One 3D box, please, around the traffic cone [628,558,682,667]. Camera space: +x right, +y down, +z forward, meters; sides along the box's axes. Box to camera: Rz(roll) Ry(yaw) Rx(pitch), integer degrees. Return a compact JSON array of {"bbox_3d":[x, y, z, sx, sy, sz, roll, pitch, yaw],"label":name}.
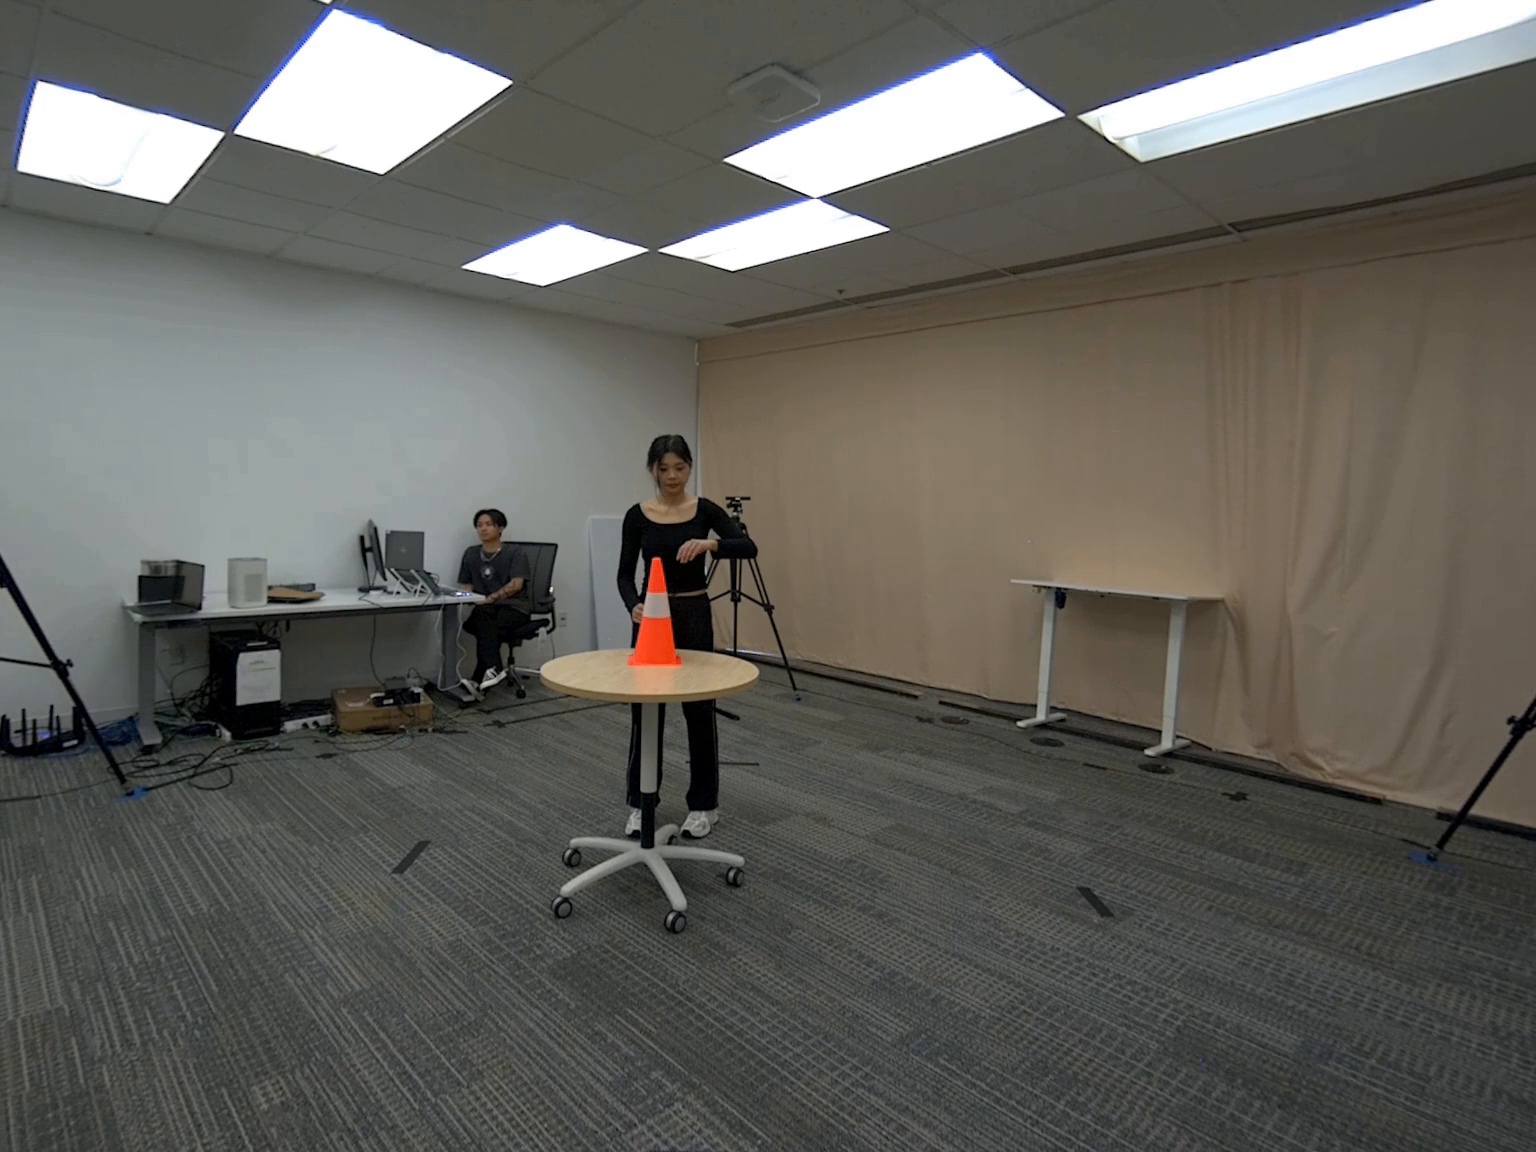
[{"bbox_3d":[-0.432,0.127,3.112,0.204,0.383,0.205,1,4,-7],"label":"traffic cone"}]
